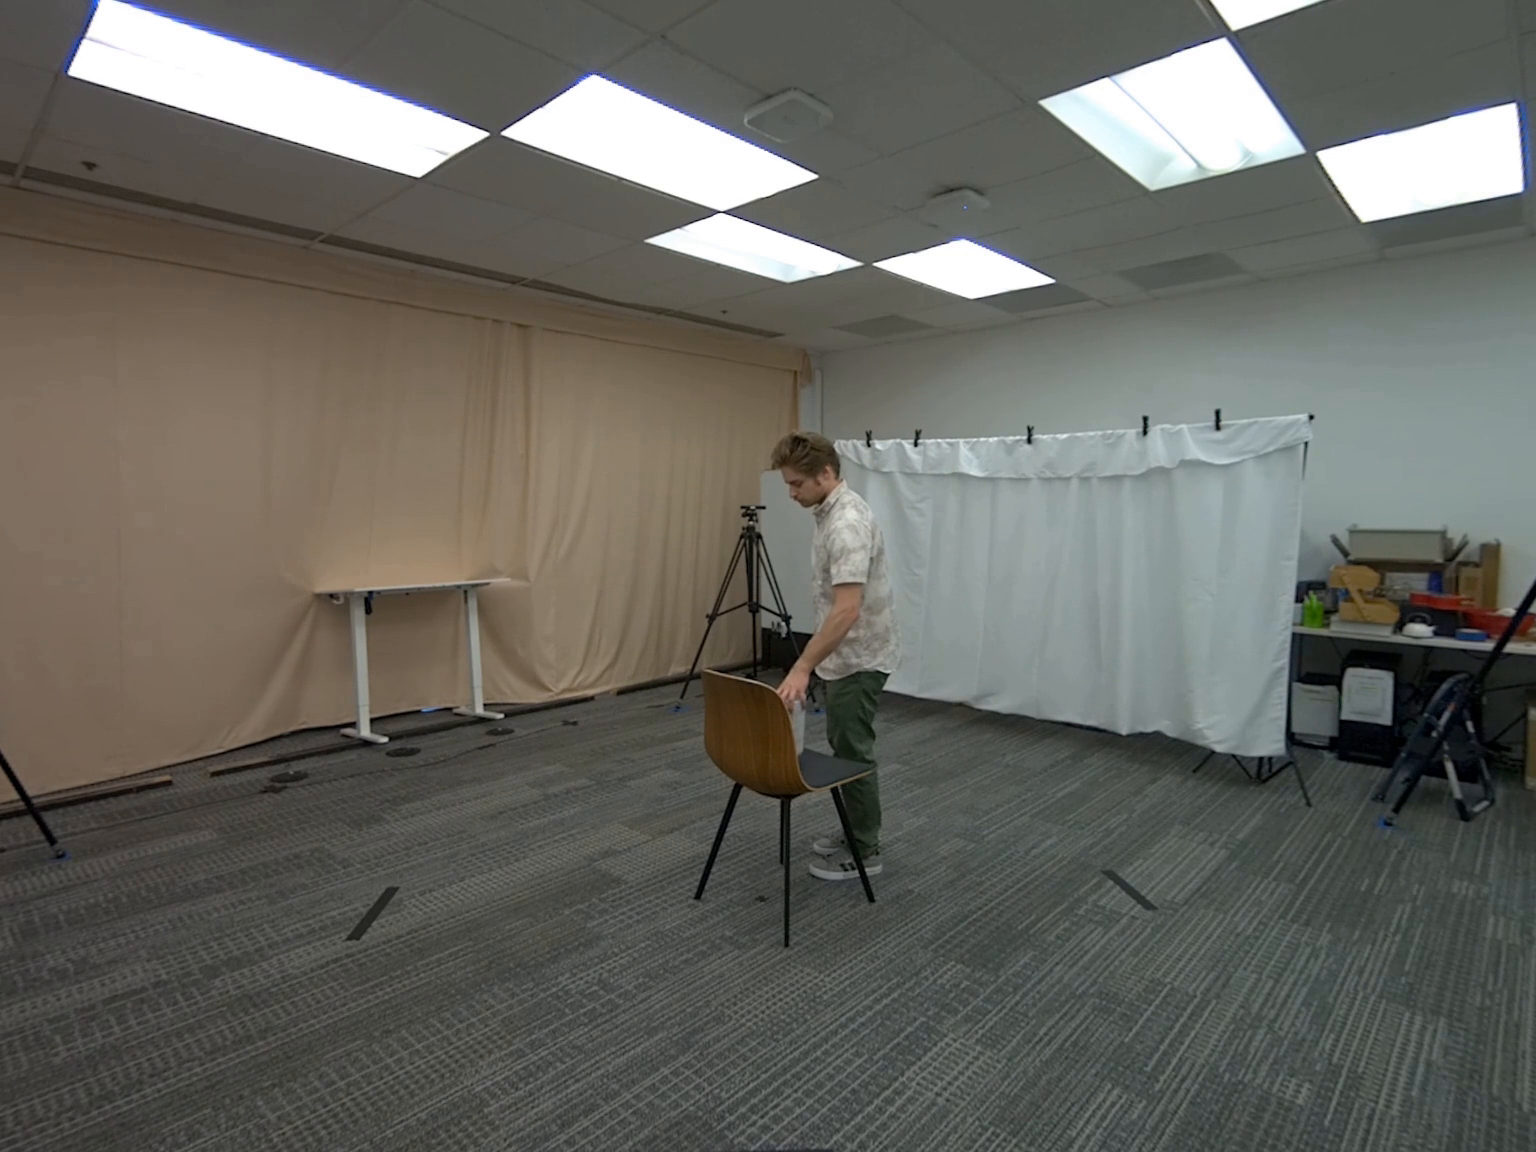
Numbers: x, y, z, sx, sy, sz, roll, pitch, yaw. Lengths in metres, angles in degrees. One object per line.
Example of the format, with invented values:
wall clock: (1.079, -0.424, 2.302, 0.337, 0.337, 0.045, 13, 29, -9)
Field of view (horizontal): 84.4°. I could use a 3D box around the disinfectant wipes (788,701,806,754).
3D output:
disinfectant wipes: (0.078, 0.514, 2.941, 0.117, 0.215, 0.119, 1, 14, -2)
